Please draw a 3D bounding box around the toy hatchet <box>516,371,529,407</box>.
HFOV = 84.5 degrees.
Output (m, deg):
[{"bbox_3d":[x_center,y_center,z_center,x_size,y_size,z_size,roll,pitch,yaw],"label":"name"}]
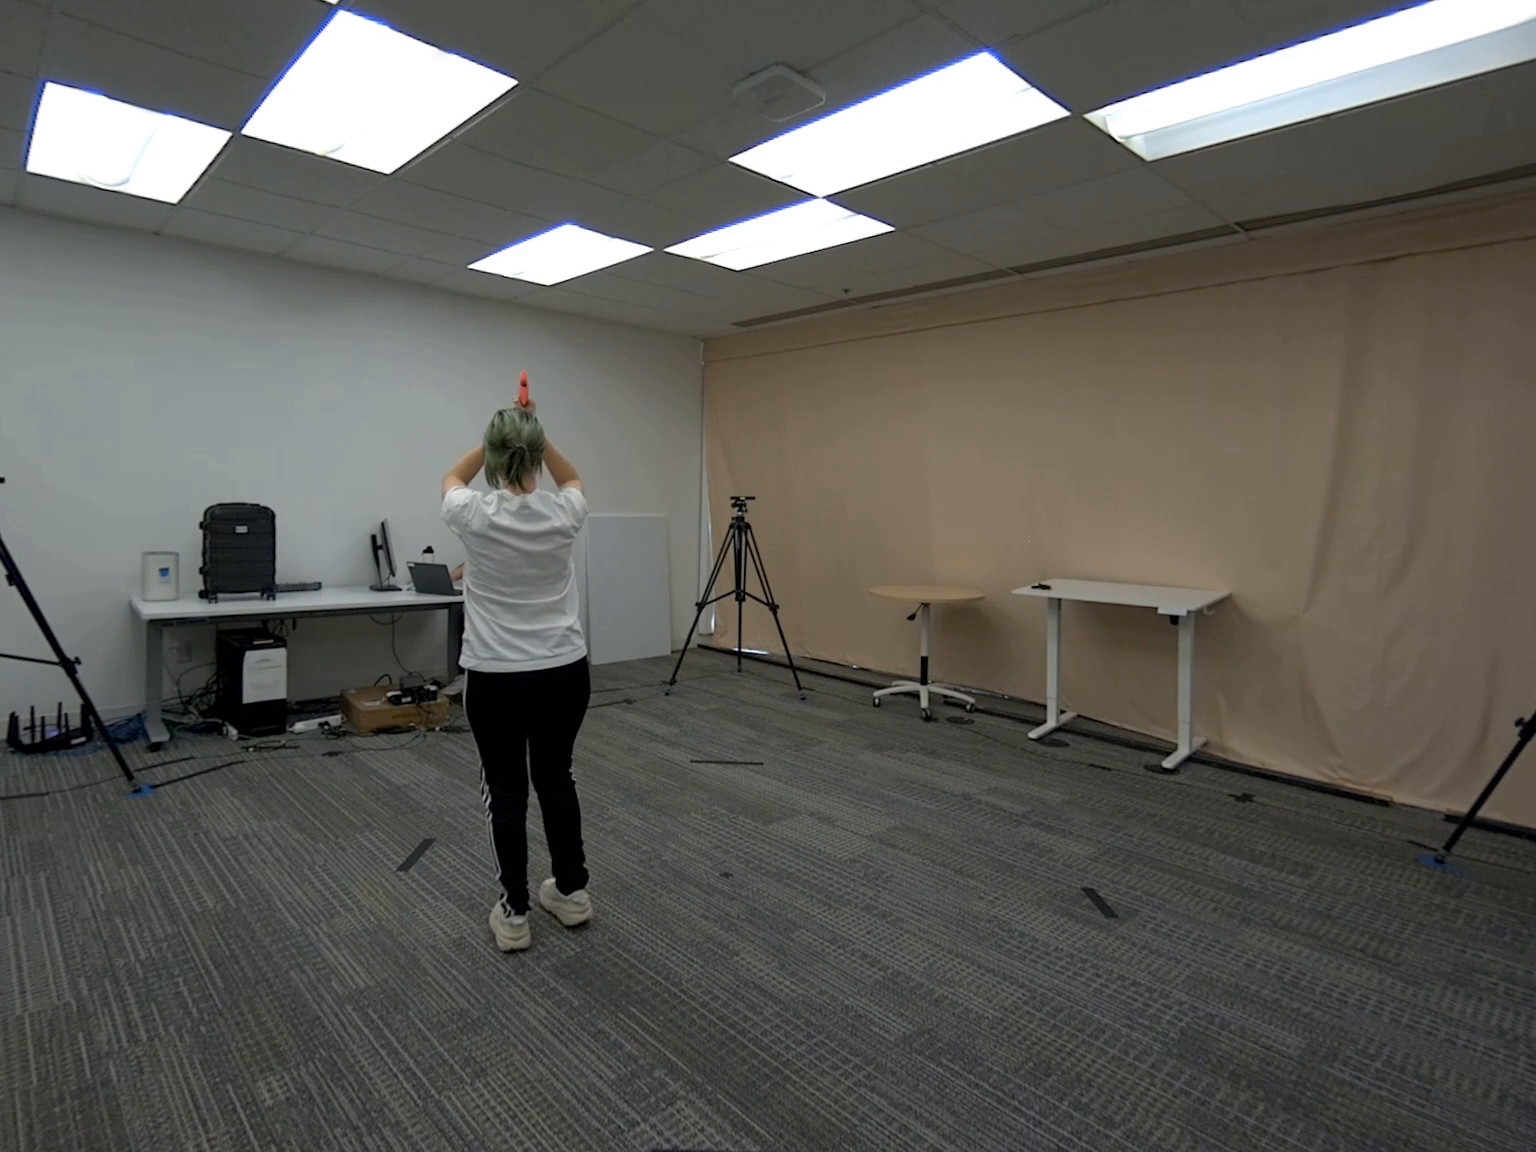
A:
[{"bbox_3d":[-0.801,-0.572,2.731,0.029,0.132,0.271,0,-8,-15],"label":"toy hatchet"}]
